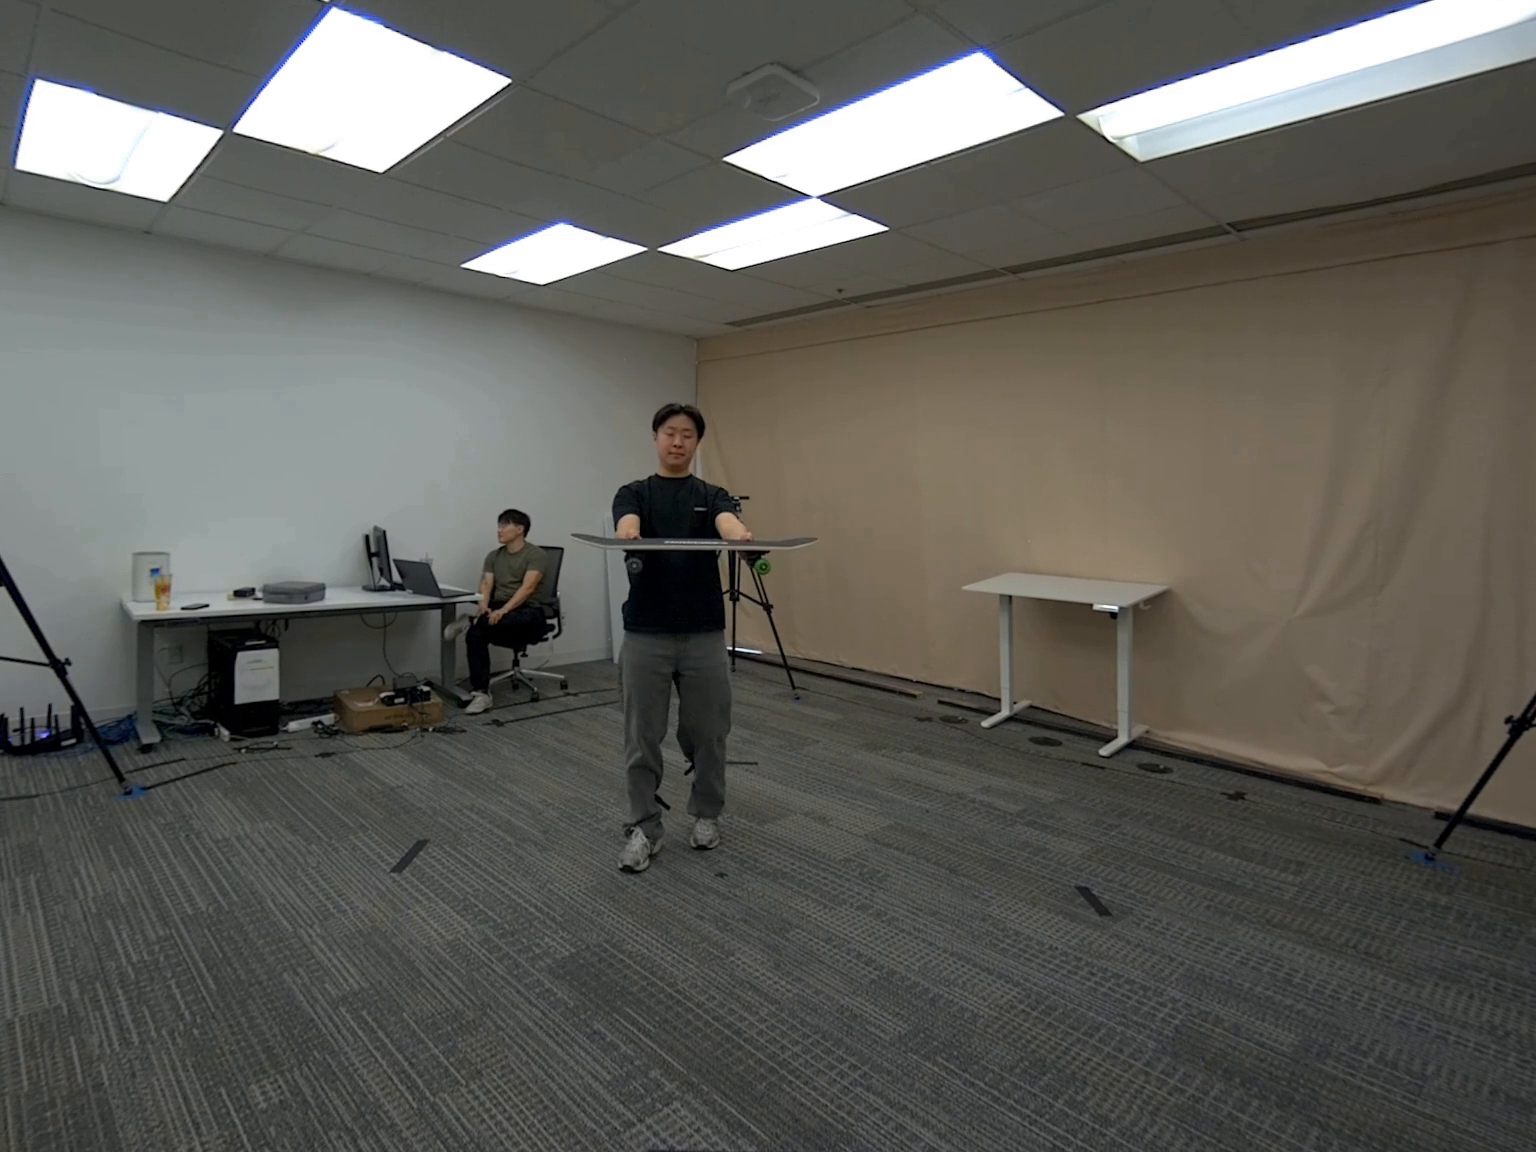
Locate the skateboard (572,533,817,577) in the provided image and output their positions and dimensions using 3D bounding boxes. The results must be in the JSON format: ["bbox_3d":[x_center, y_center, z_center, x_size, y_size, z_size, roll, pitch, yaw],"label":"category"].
[{"bbox_3d":[-0.238,-0.066,2.655,0.779,0.110,0.196,0,9,-10],"label":"skateboard"}]
